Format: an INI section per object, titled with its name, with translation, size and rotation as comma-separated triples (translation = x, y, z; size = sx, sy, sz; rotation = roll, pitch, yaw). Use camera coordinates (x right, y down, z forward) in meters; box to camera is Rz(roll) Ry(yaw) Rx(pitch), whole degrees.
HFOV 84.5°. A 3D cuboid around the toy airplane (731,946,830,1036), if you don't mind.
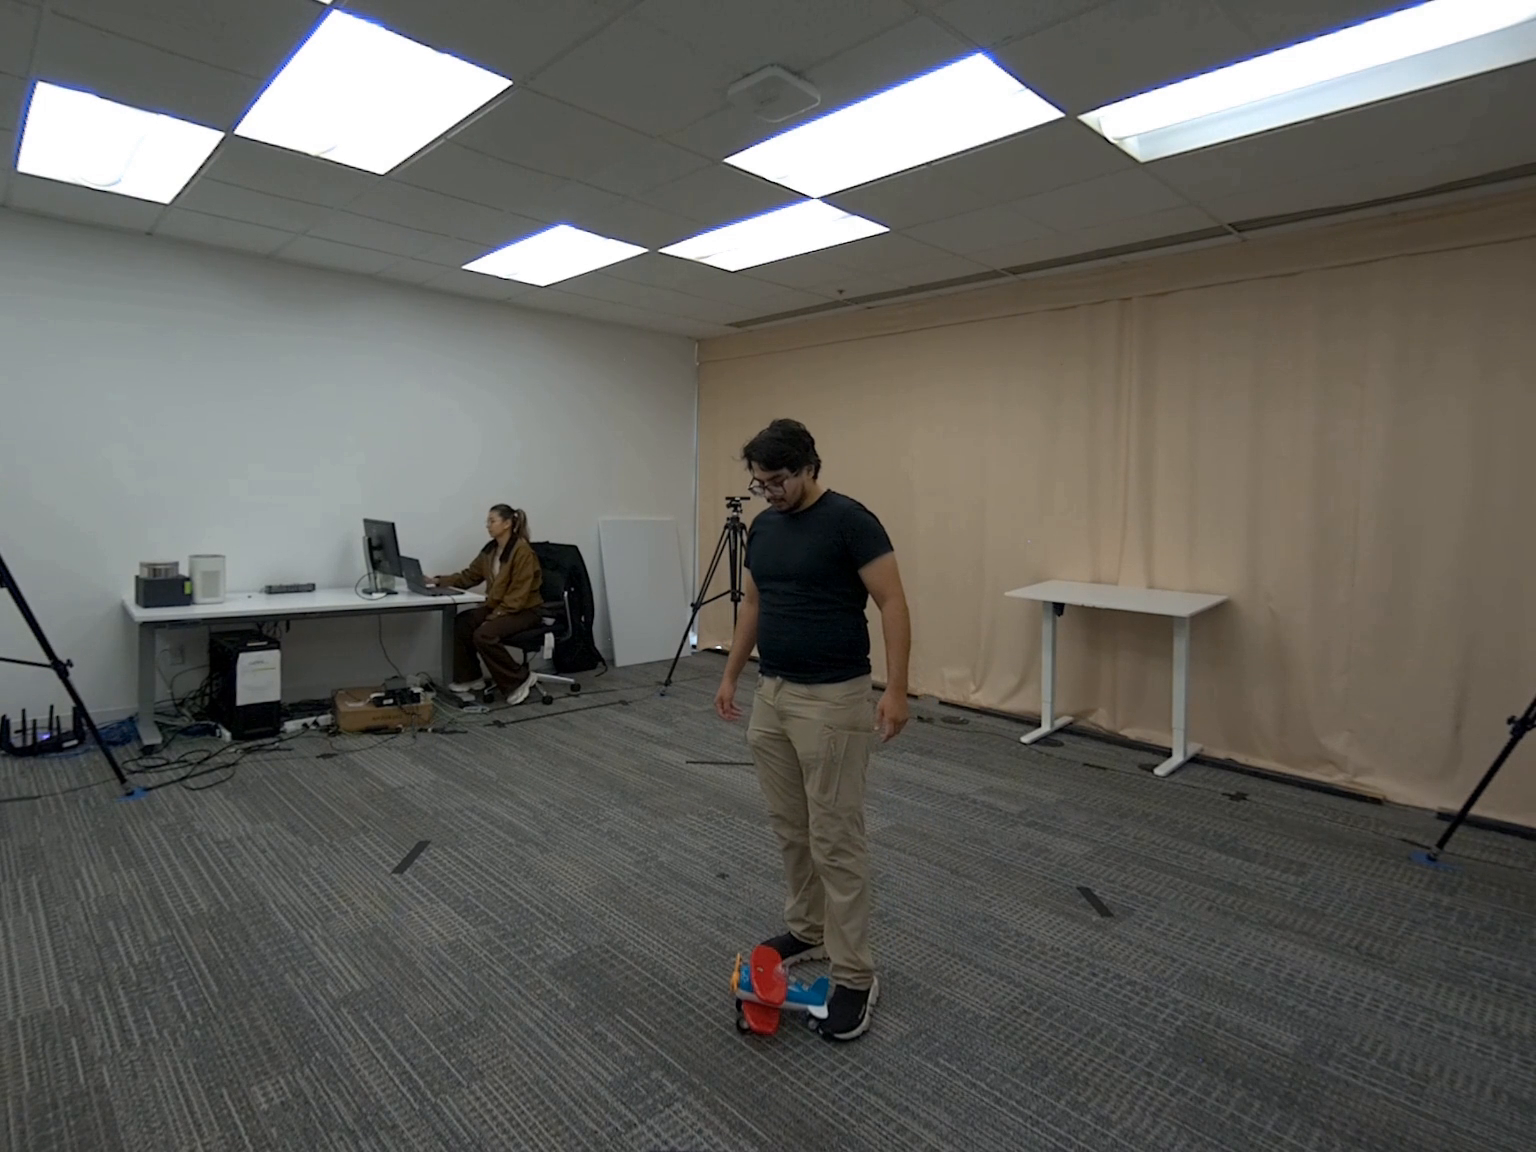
[toy airplane]
translation = 0.021, 1.113, 2.249
size = 0.254, 0.156, 0.257
rotation = -3, 6, -29
